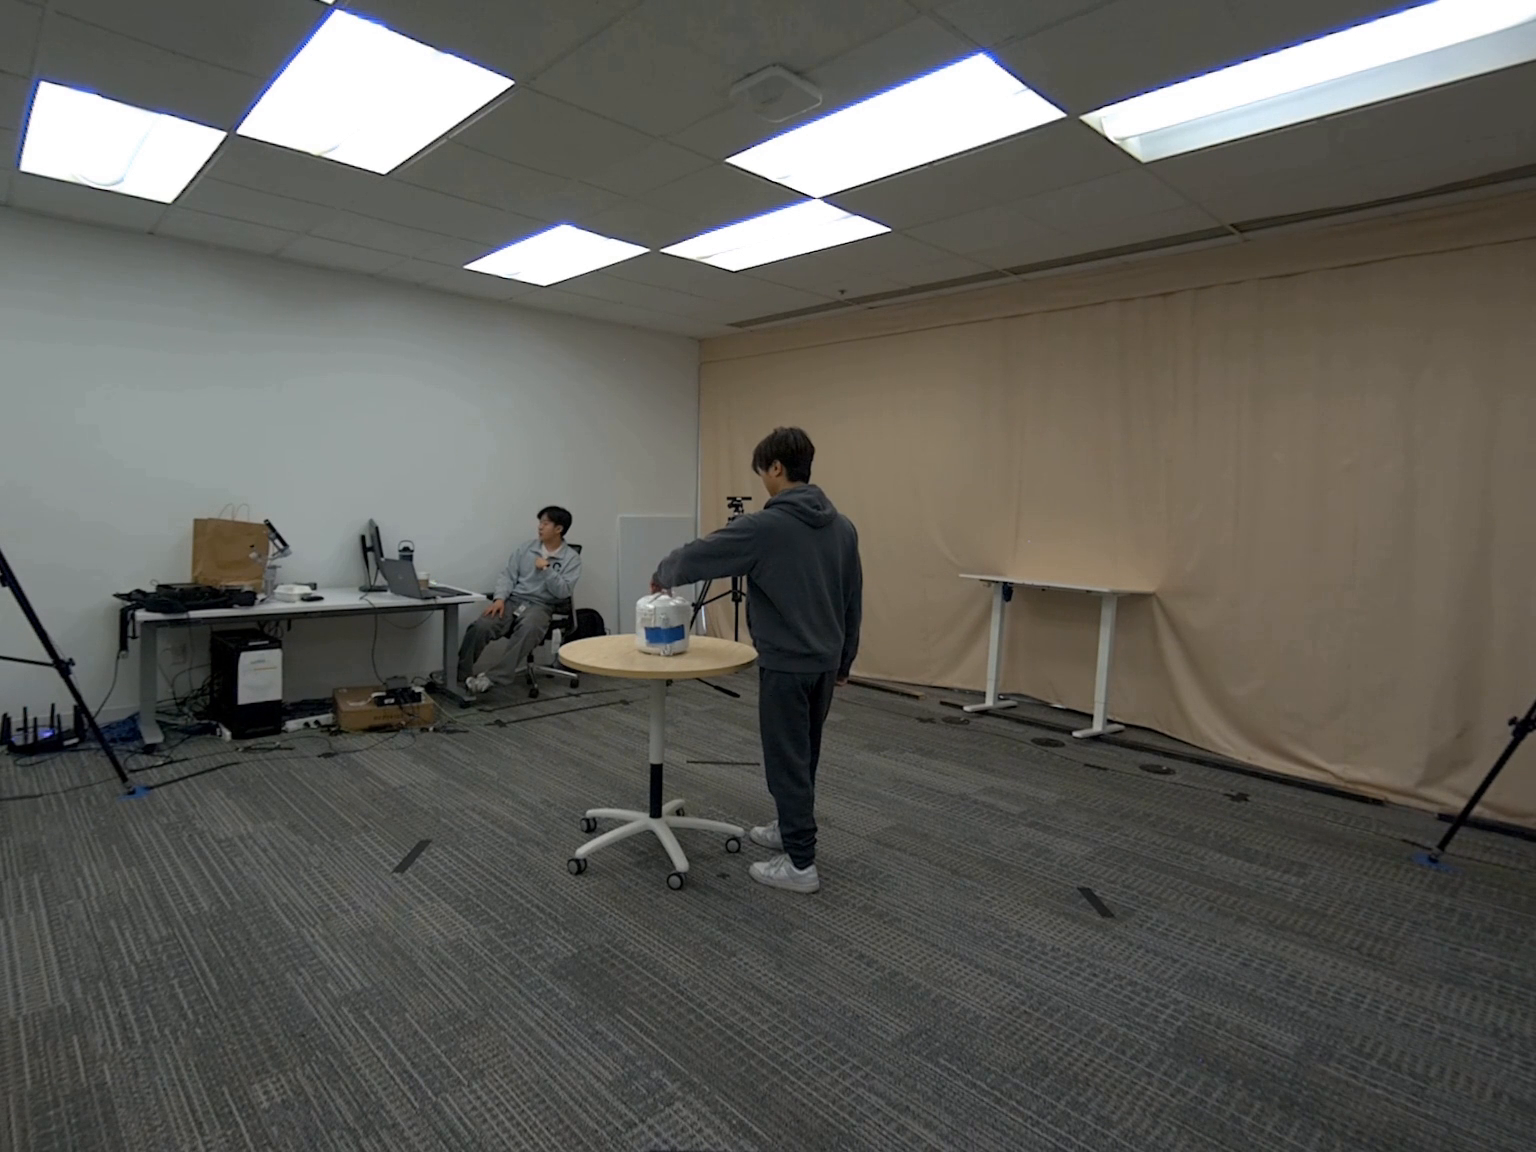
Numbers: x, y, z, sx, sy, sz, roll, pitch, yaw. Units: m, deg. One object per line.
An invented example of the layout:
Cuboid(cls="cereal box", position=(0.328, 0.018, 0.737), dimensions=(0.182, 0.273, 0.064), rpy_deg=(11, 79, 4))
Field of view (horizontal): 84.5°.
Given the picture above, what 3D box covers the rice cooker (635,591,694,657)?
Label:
Cuboid(cls="rice cooker", position=(-0.407, 0.174, 3.237), dimensions=(0.222, 0.232, 0.216), rpy_deg=(5, 6, 32))
